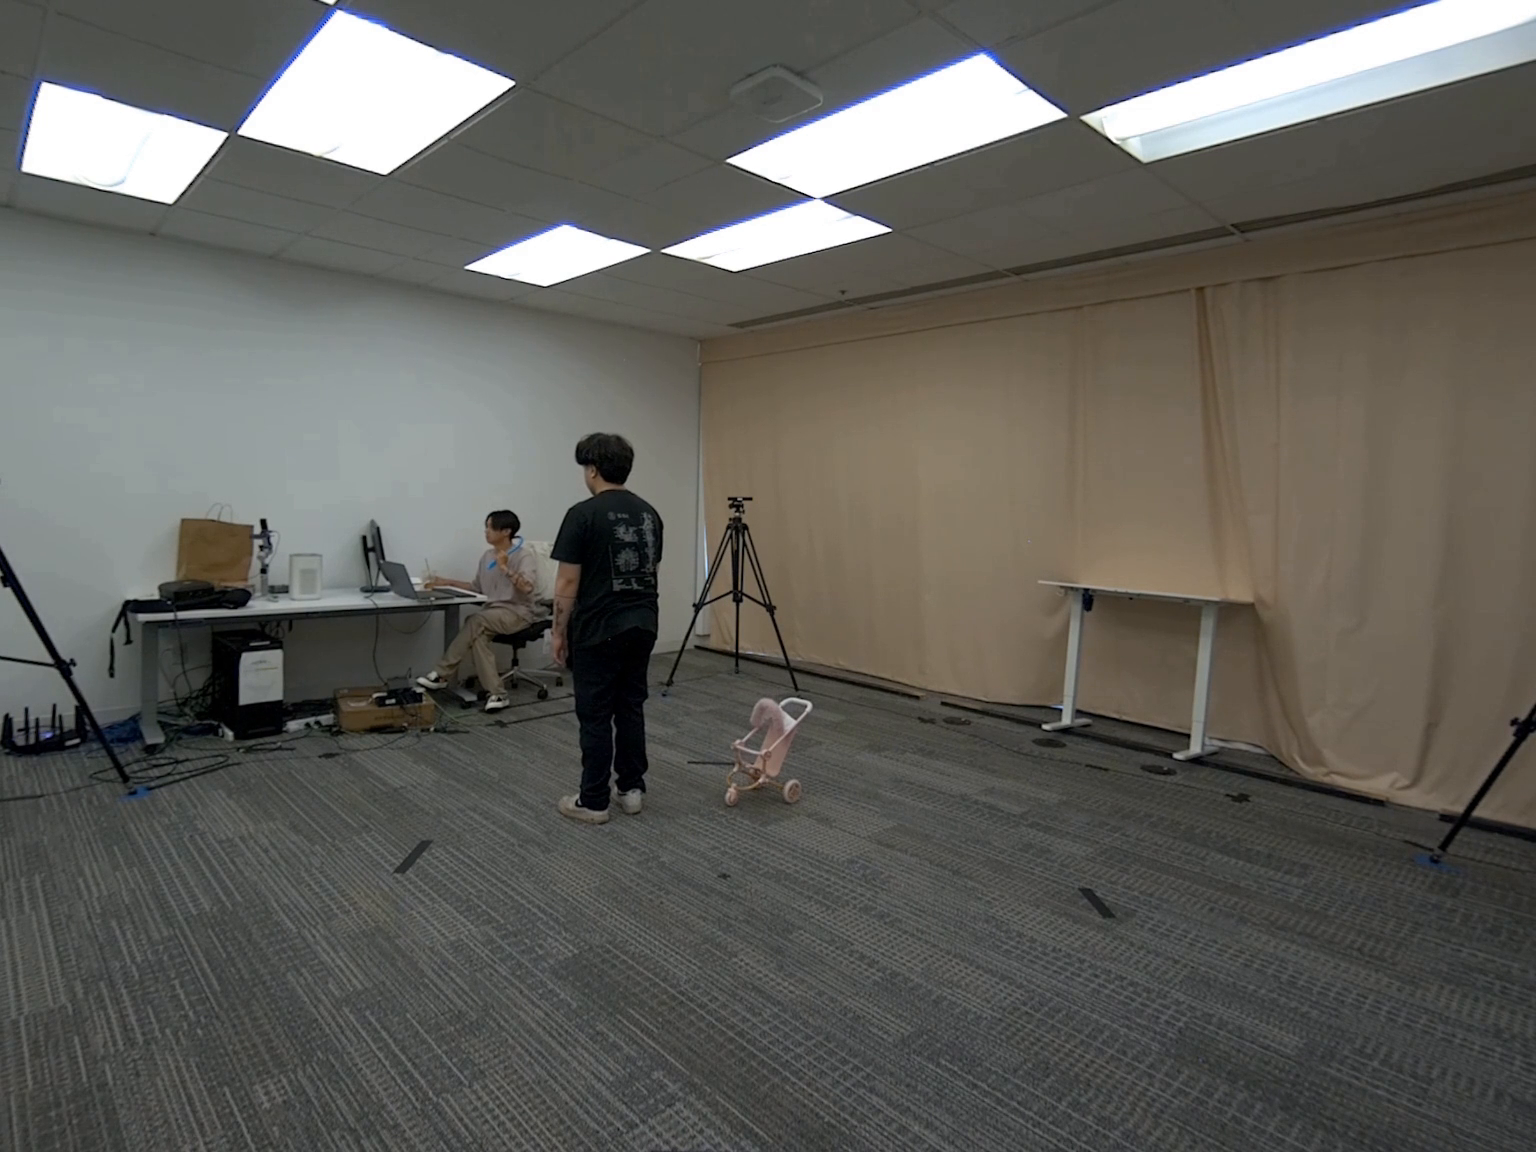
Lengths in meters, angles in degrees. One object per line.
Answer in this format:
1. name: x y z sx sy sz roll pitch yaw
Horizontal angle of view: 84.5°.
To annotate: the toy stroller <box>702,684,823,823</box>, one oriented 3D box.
1. toy stroller: -0.027 0.823 3.947 0.332 0.536 0.288 18 -7 -36
